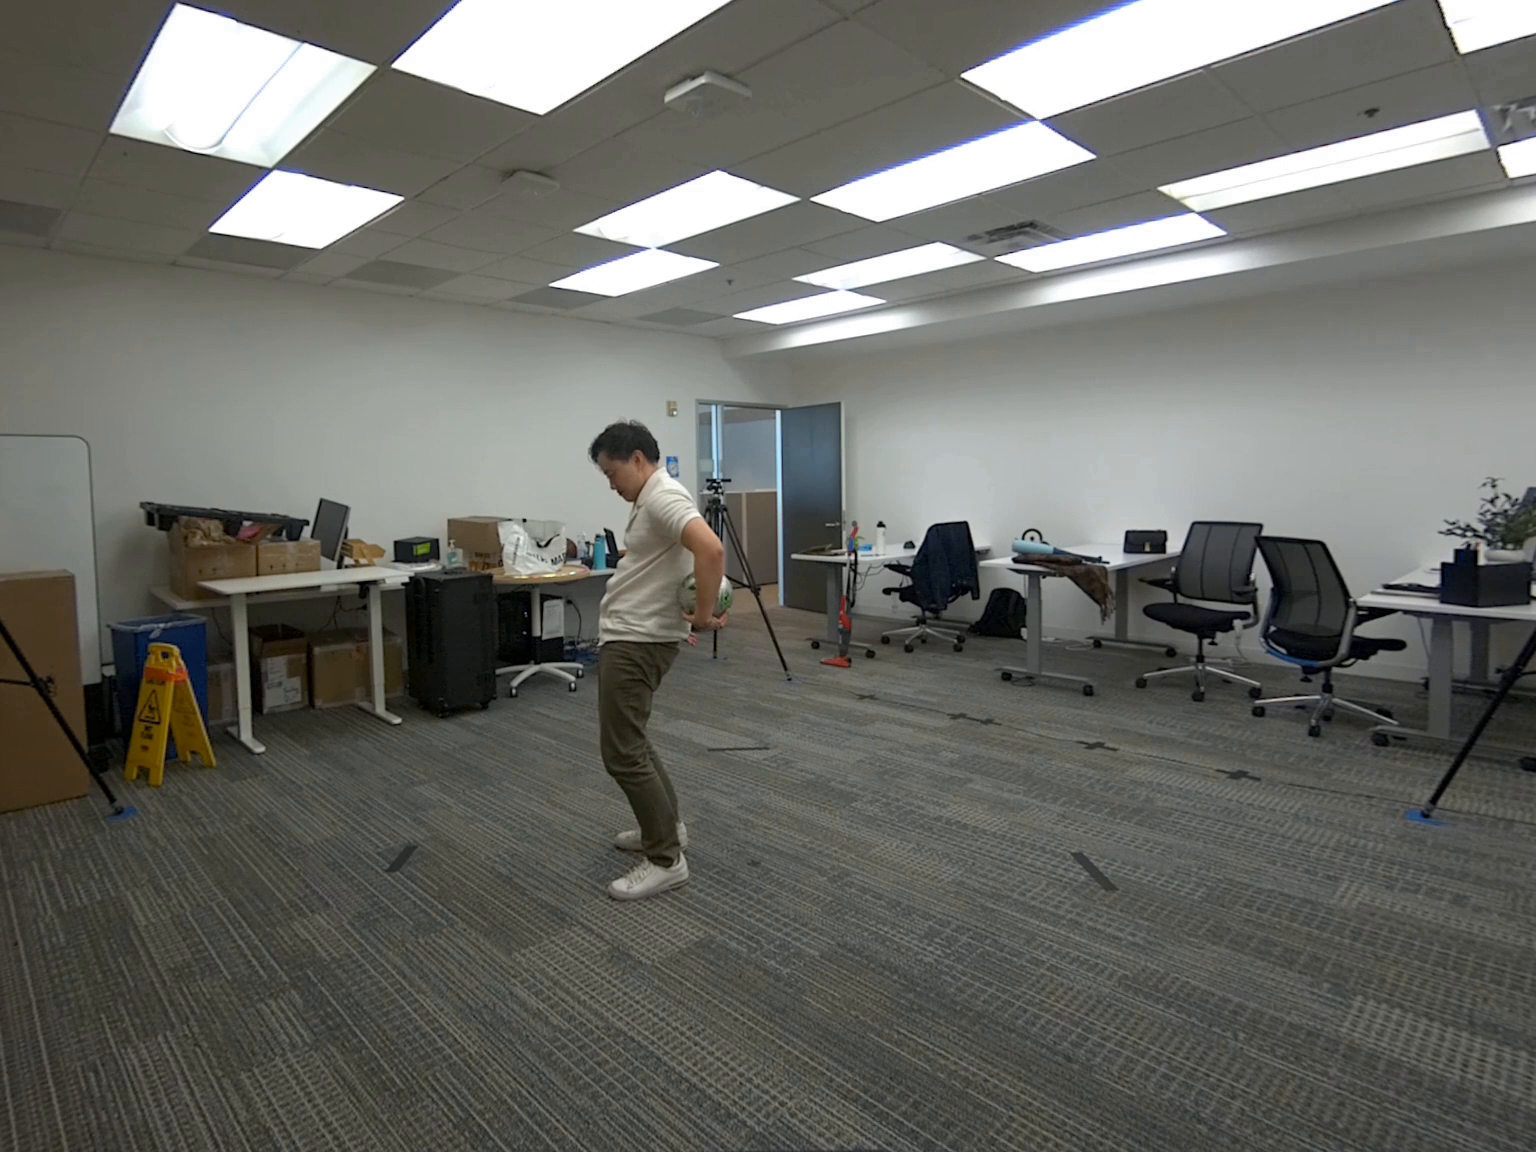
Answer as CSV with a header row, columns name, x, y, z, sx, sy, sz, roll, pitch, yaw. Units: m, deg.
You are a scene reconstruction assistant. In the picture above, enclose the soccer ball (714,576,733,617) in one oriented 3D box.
name,x,y,z,sx,sy,sz,roll,pitch,yaw
soccer ball,-0.218,0.062,2.900,0.187,0.187,0.188,-1,5,-2
